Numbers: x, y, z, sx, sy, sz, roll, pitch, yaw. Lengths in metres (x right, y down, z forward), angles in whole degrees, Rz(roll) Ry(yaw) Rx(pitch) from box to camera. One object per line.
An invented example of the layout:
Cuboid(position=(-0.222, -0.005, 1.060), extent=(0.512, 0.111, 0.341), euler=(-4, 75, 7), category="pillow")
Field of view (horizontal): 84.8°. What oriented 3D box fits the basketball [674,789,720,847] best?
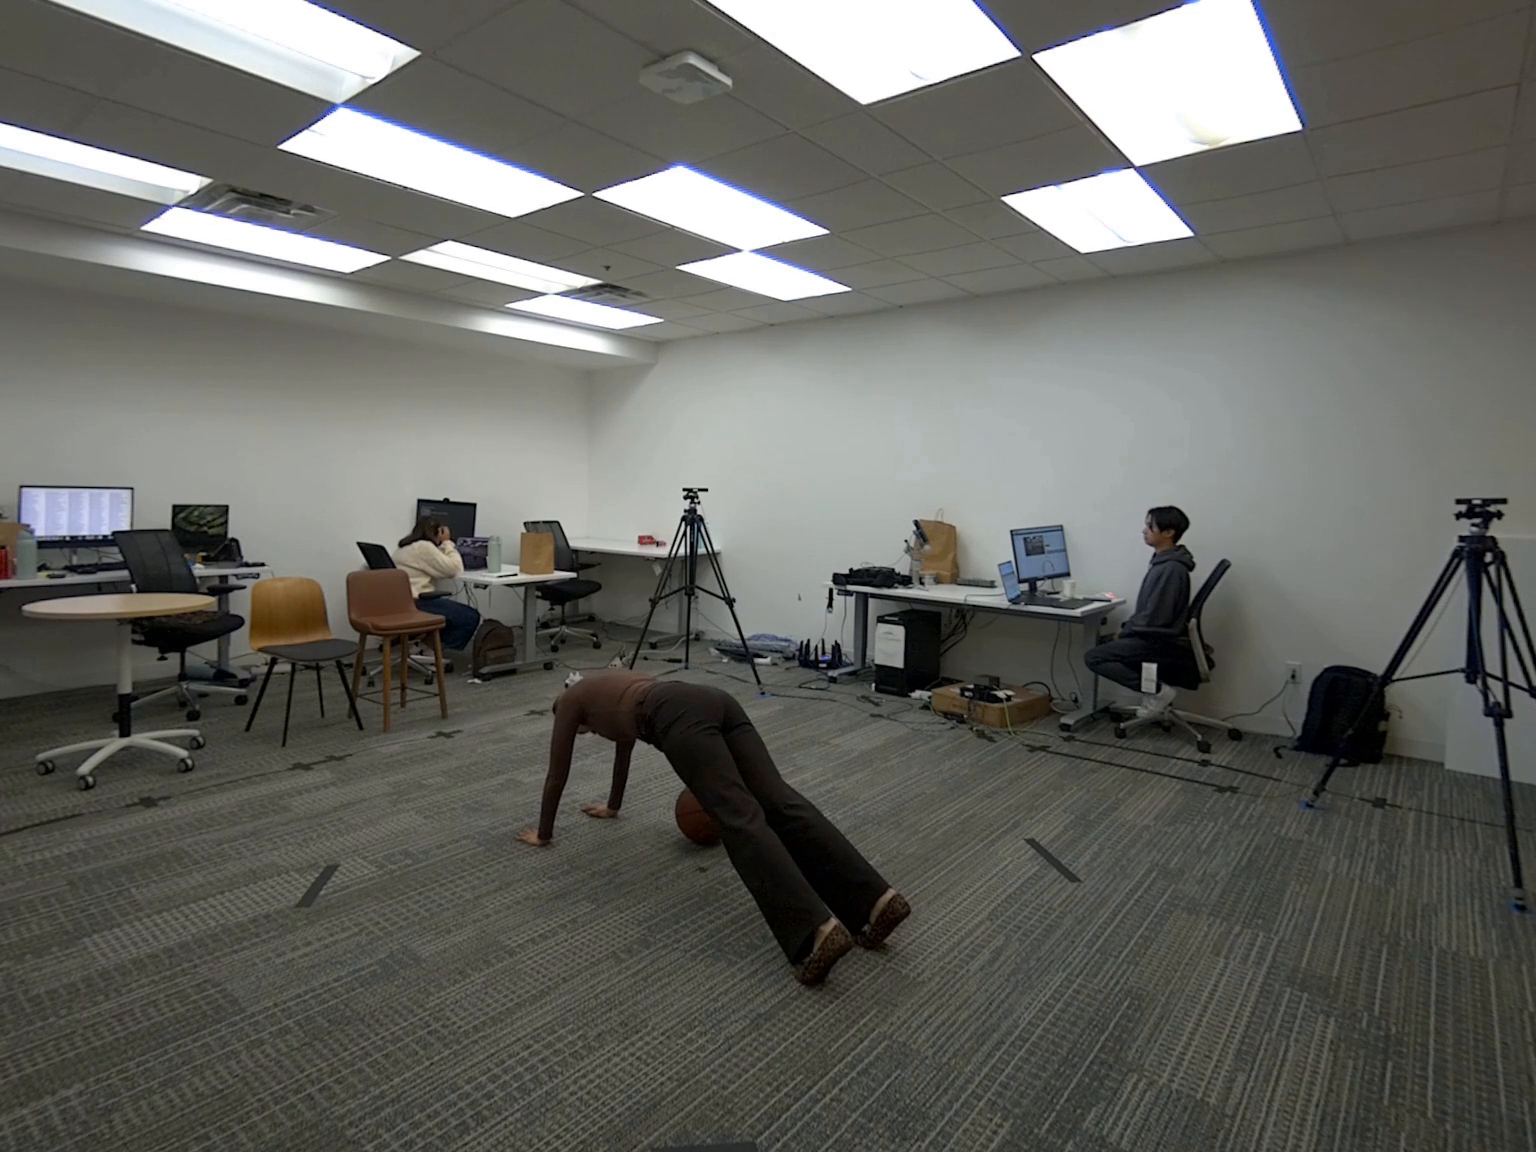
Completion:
Cuboid(position=(-0.260, 0.927, 3.363), extent=(0.236, 0.235, 0.237), euler=(1, 4, -2), category="basketball")
